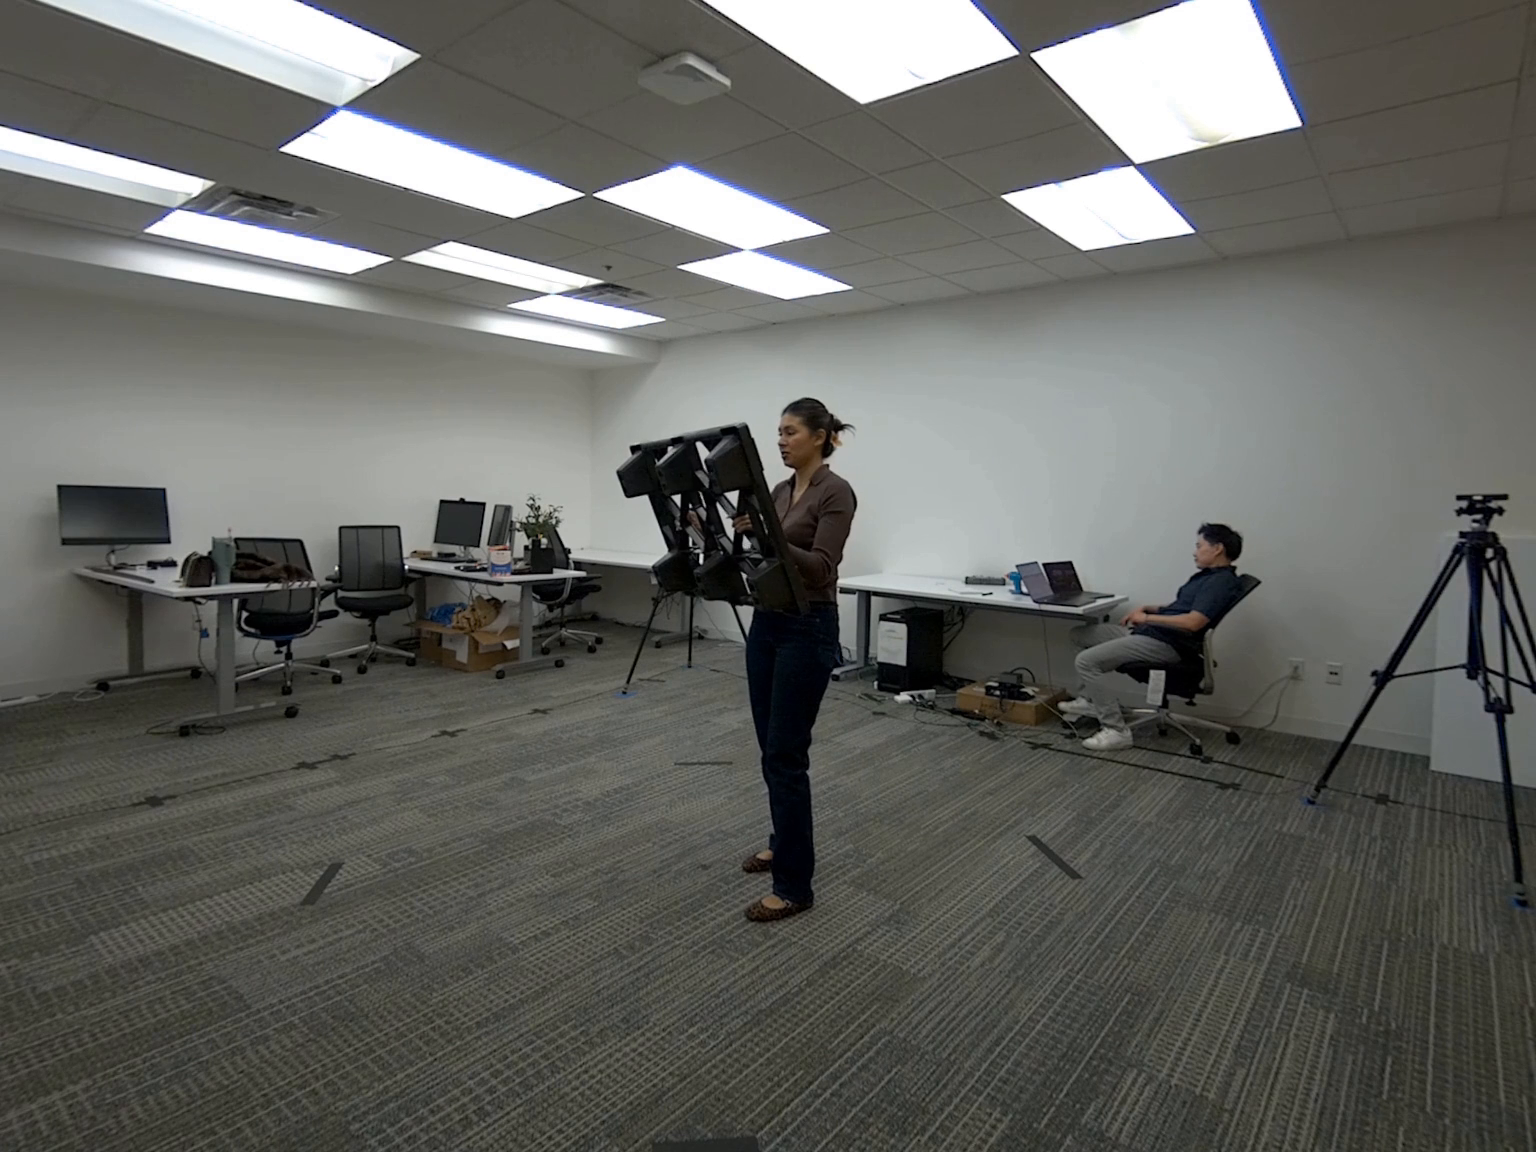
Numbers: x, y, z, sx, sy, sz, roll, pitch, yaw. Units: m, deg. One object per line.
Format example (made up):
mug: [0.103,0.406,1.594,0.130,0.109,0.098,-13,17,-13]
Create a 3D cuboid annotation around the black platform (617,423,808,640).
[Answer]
black platform: [-0.231,-0.169,2.778,0.141,0.596,0.829,-25,15,-27]
